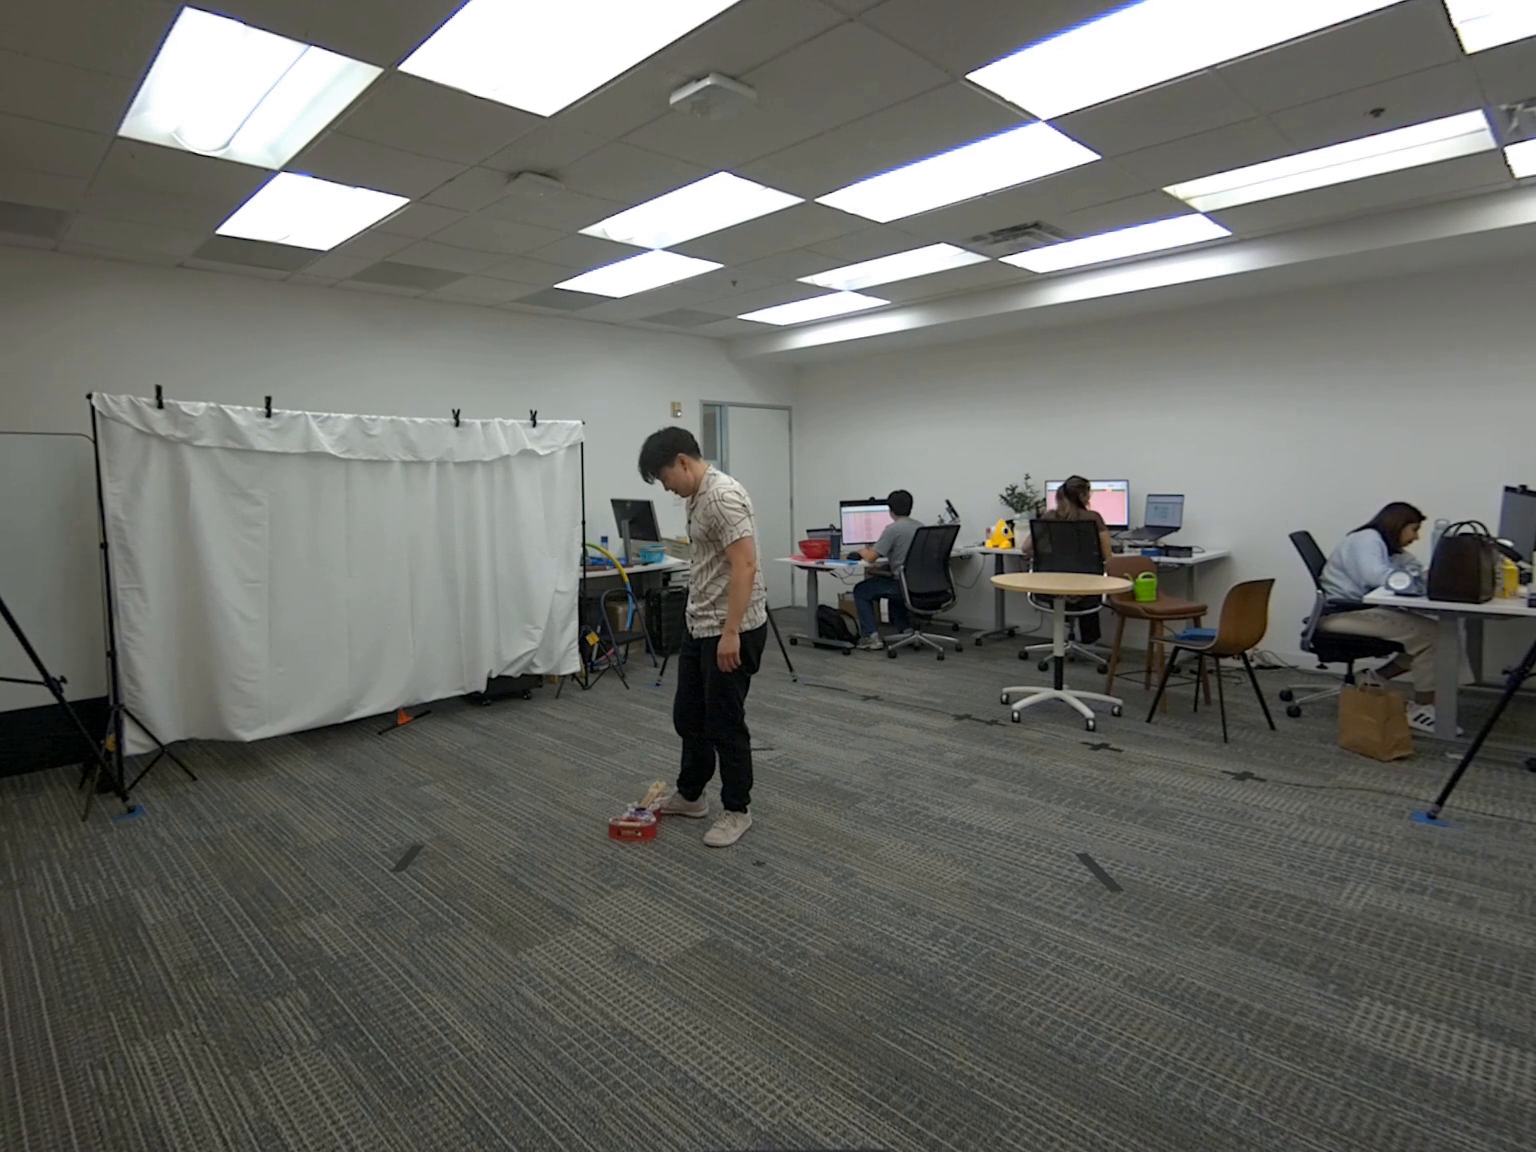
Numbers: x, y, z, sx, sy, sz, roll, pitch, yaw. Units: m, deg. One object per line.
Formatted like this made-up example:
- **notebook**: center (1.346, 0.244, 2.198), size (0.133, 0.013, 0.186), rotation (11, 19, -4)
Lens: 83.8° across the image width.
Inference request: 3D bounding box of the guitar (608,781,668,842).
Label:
- **guitar**: center (-0.476, 0.968, 3.562), size (0.196, 0.070, 0.492), rotation (-1, 7, 17)
